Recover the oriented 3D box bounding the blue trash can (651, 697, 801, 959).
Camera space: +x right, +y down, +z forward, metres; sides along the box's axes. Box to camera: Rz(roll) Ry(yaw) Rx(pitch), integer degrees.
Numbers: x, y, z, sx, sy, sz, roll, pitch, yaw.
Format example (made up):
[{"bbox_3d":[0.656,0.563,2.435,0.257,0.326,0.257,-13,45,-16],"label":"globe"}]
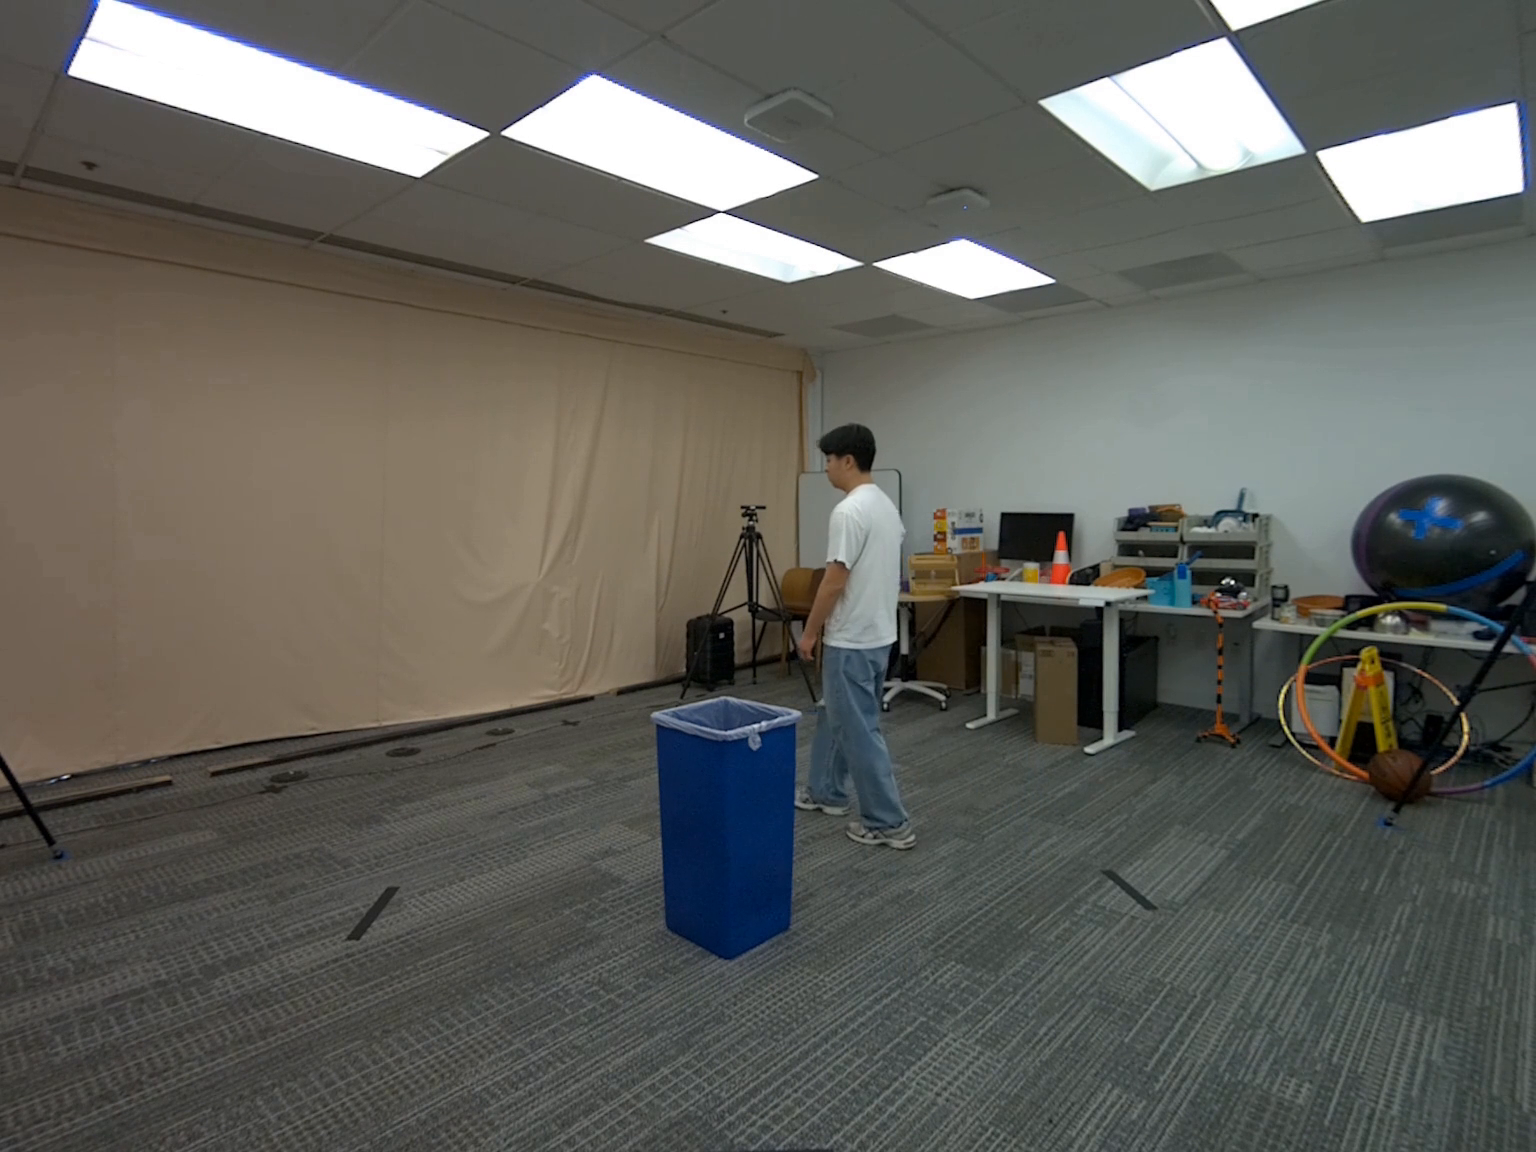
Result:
[{"bbox_3d":[-0.139,0.804,2.768,0.386,0.712,0.366,3,4,44],"label":"blue trash can"}]
